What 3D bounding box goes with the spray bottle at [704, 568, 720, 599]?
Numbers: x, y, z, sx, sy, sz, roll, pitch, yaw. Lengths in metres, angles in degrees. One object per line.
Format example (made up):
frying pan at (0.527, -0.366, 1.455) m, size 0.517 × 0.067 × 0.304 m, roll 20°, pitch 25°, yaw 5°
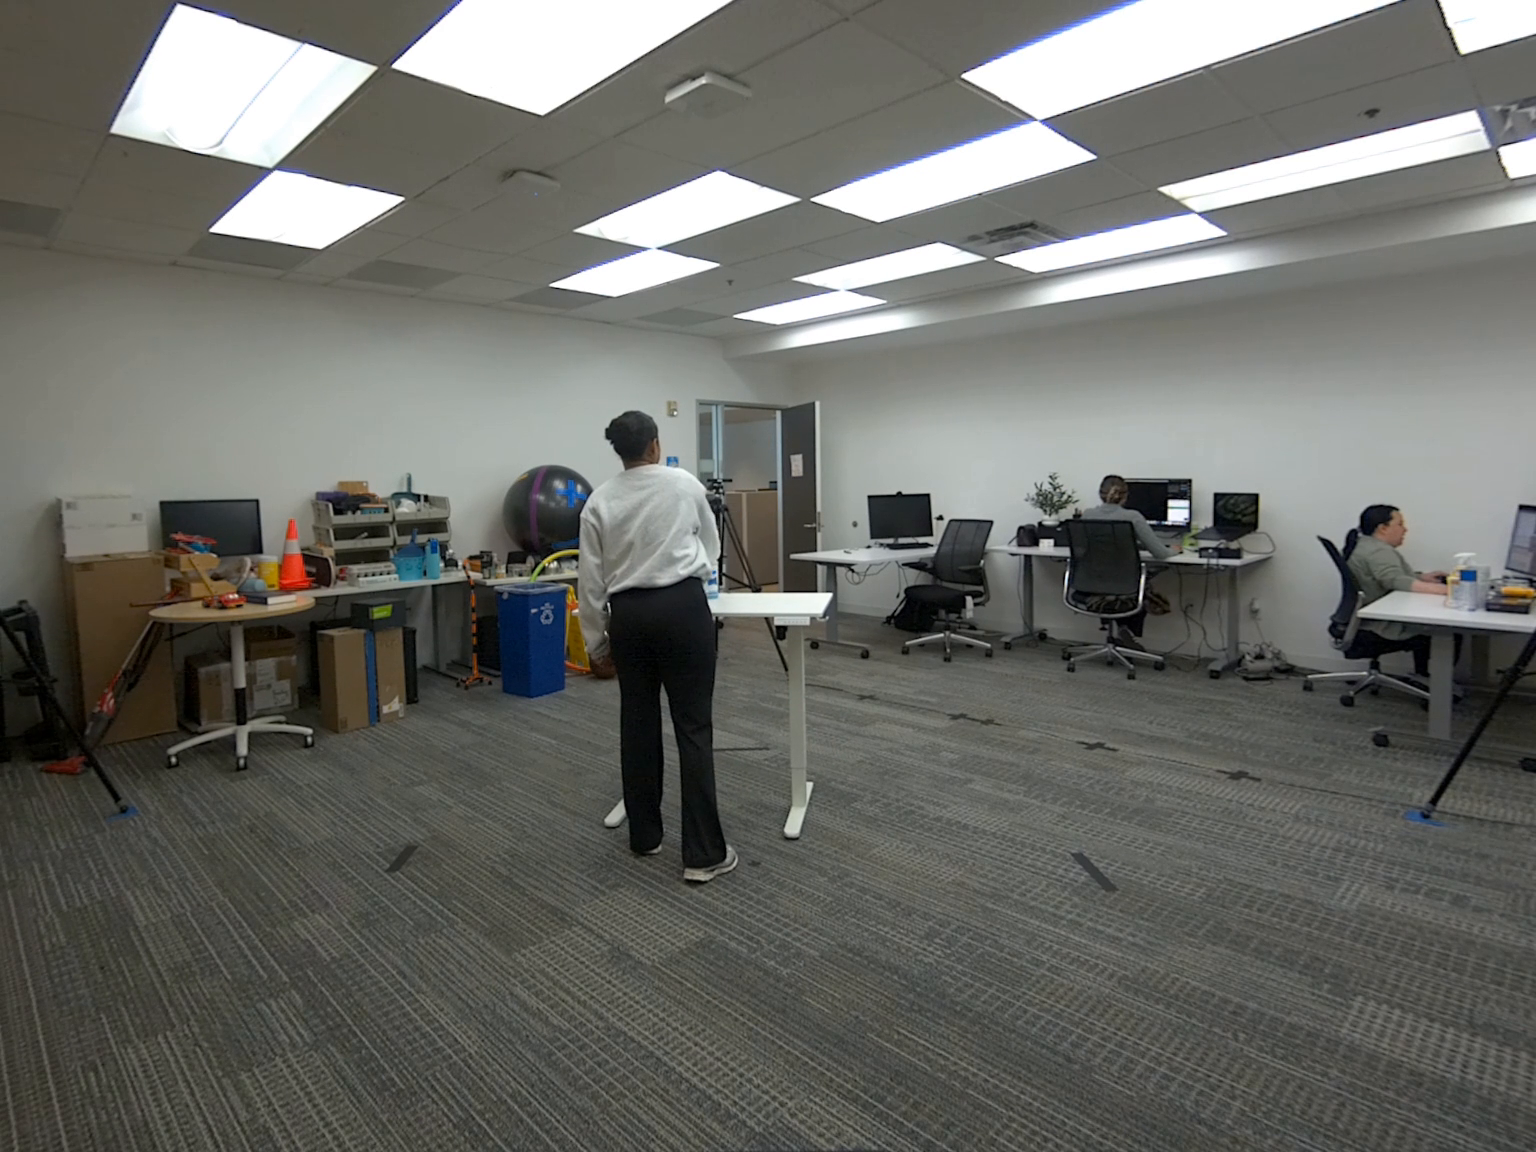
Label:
spray bottle at (-0.246, -0.052, 3.731) m, size 0.089 × 0.296 × 0.088 m, roll 4°, pitch 4°, yaw 35°
